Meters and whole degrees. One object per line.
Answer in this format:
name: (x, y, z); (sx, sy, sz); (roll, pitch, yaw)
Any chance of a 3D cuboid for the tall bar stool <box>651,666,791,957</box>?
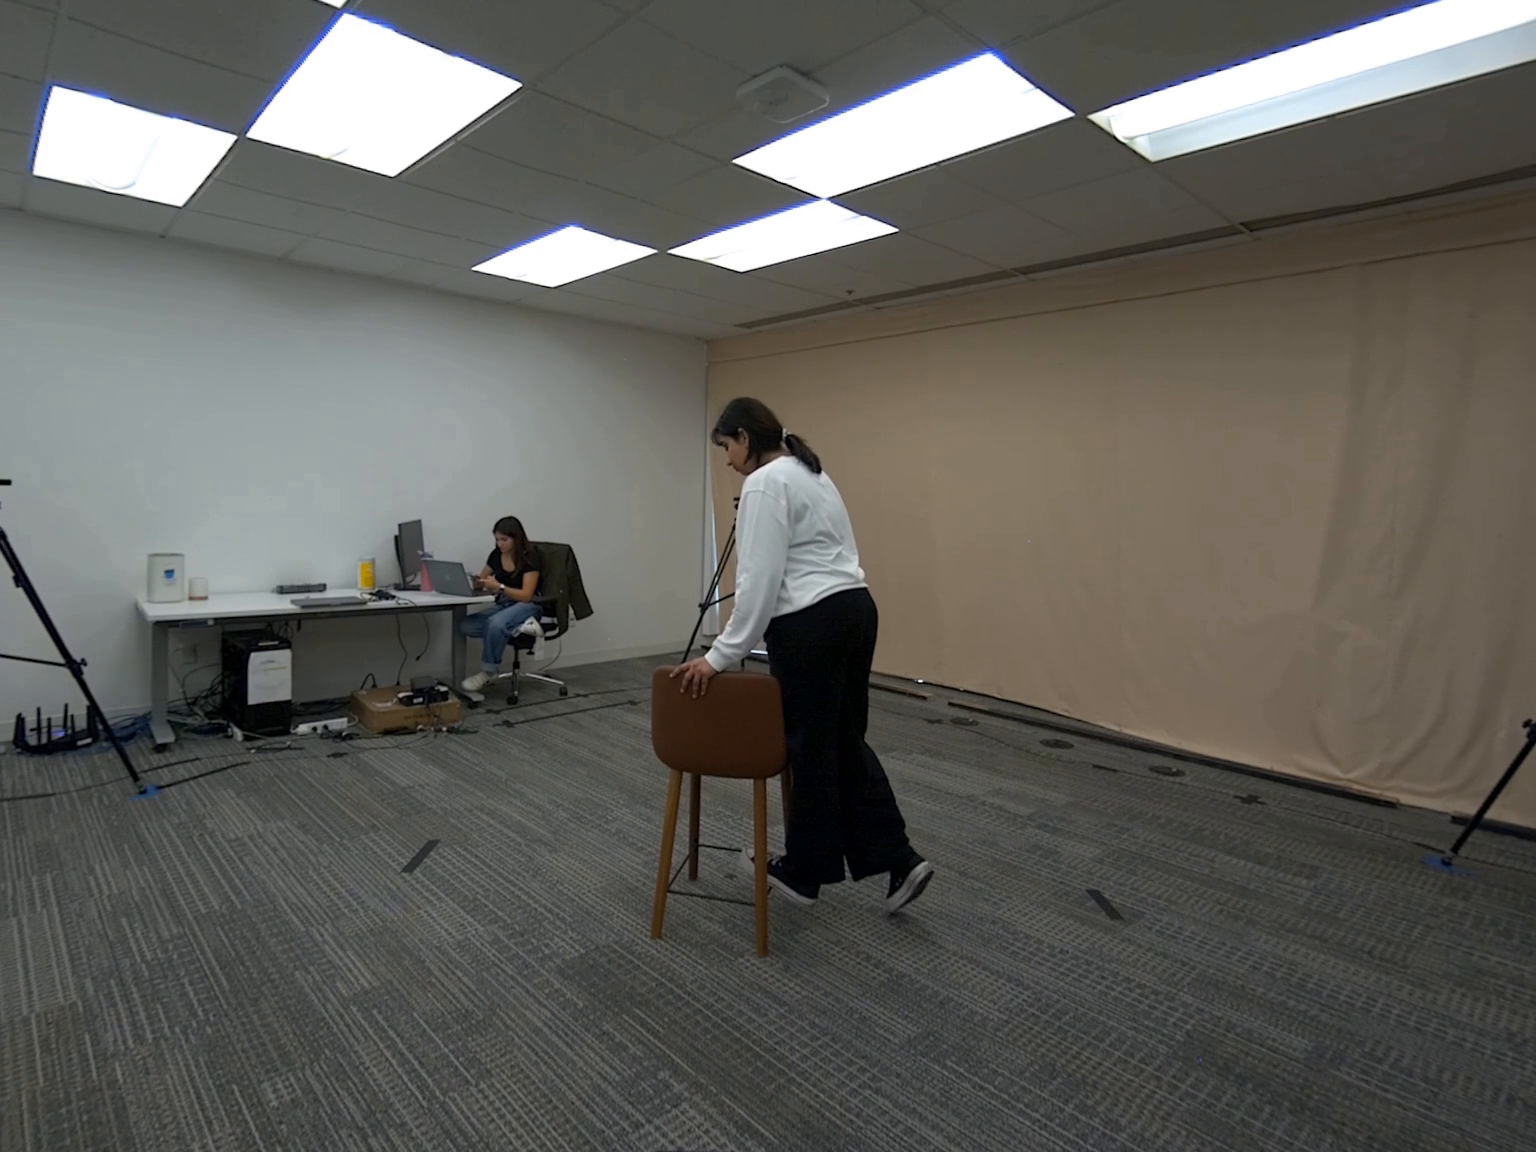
tall bar stool: (-0.137, 0.700, 2.787); (0.463, 0.886, 0.463); (3, 6, 16)
